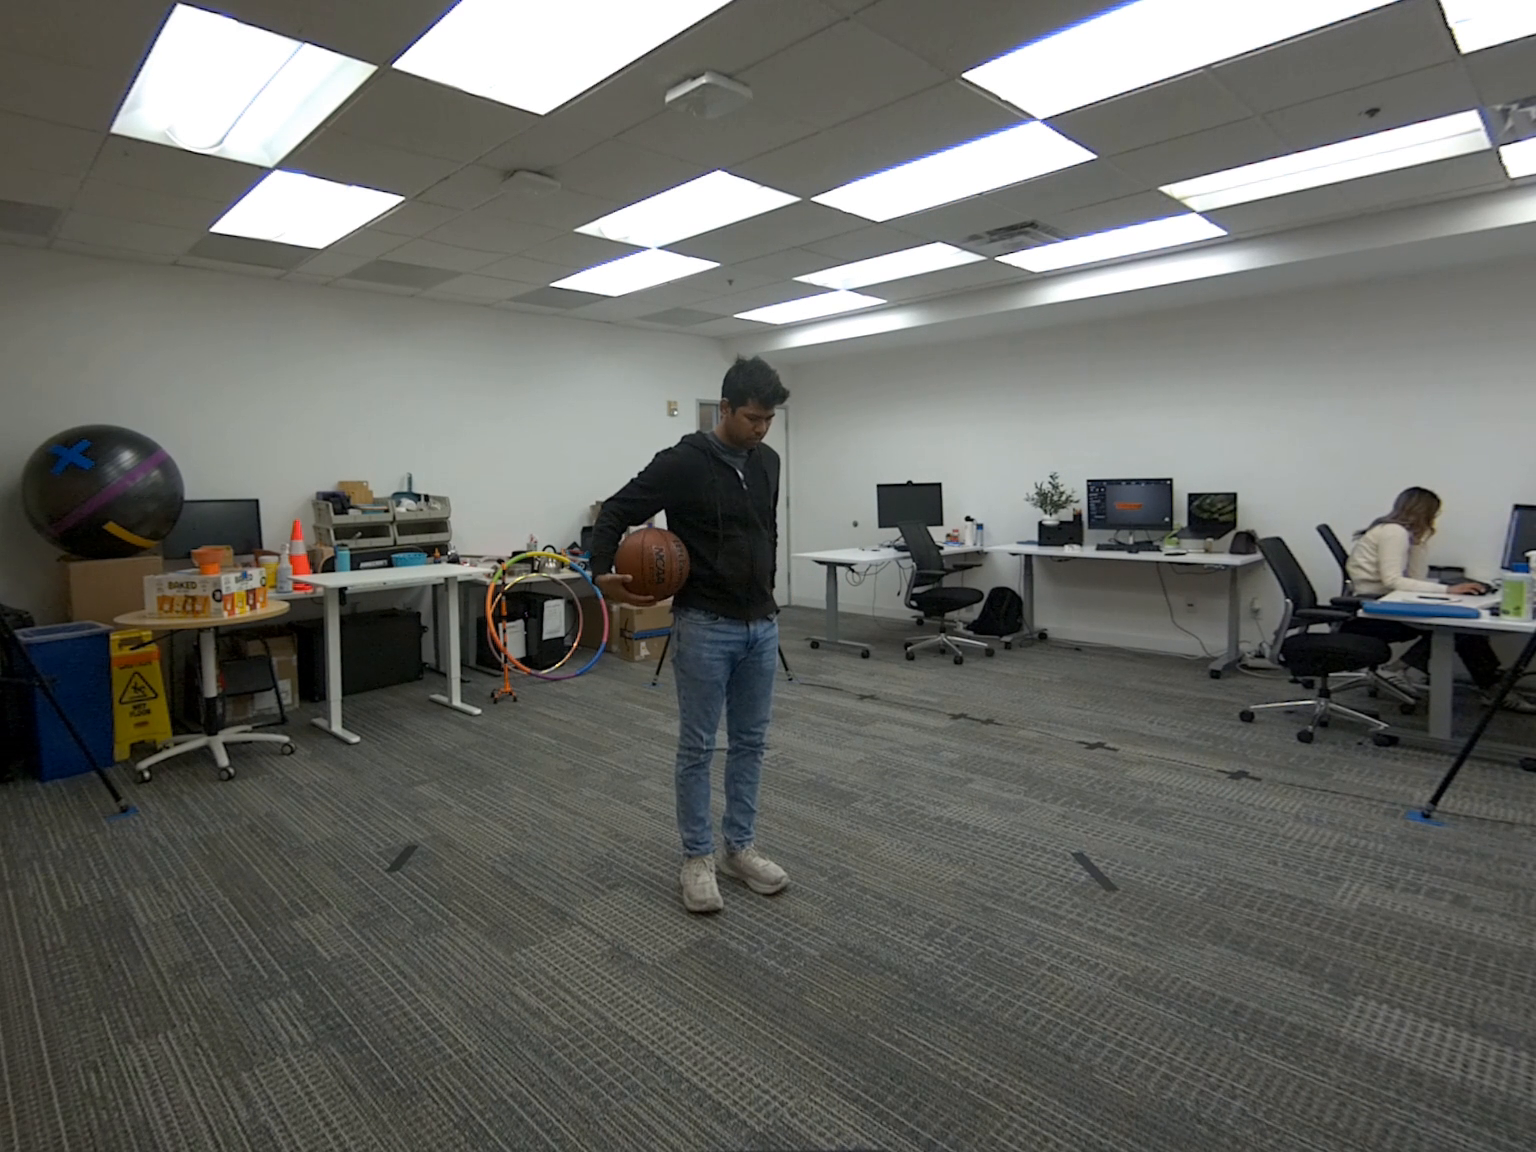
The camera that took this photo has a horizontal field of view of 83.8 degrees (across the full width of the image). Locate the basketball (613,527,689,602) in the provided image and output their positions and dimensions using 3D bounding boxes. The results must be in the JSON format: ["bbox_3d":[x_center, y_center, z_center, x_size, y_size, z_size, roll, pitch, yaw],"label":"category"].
[{"bbox_3d":[-0.358,-0.042,2.727,0.236,0.235,0.237,-1,5,-2],"label":"basketball"}]
